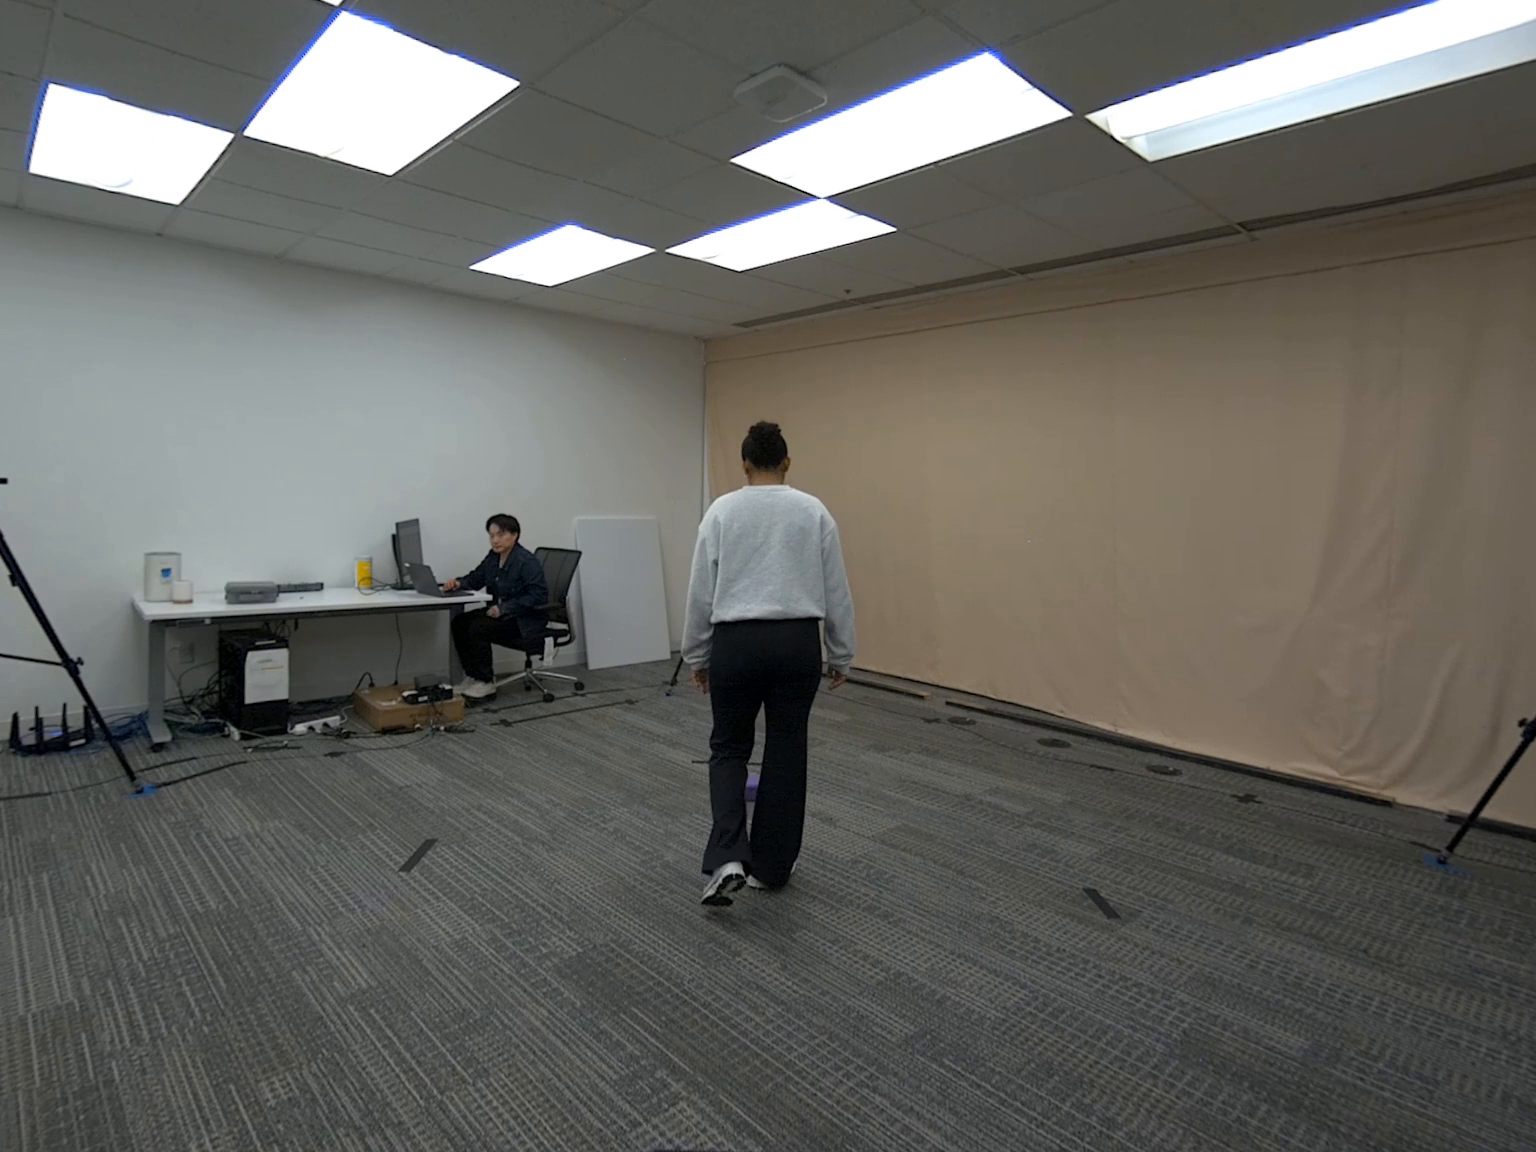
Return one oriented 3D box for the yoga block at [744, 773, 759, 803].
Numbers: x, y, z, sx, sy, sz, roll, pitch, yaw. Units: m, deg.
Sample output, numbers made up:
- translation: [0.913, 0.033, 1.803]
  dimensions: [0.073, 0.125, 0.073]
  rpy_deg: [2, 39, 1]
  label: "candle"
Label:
- translation: [-0.120, 0.999, 3.946]
  dimensions: [0.227, 0.076, 0.151]
  rpy_deg: [0, 6, -14]
  label: "yoga block"
